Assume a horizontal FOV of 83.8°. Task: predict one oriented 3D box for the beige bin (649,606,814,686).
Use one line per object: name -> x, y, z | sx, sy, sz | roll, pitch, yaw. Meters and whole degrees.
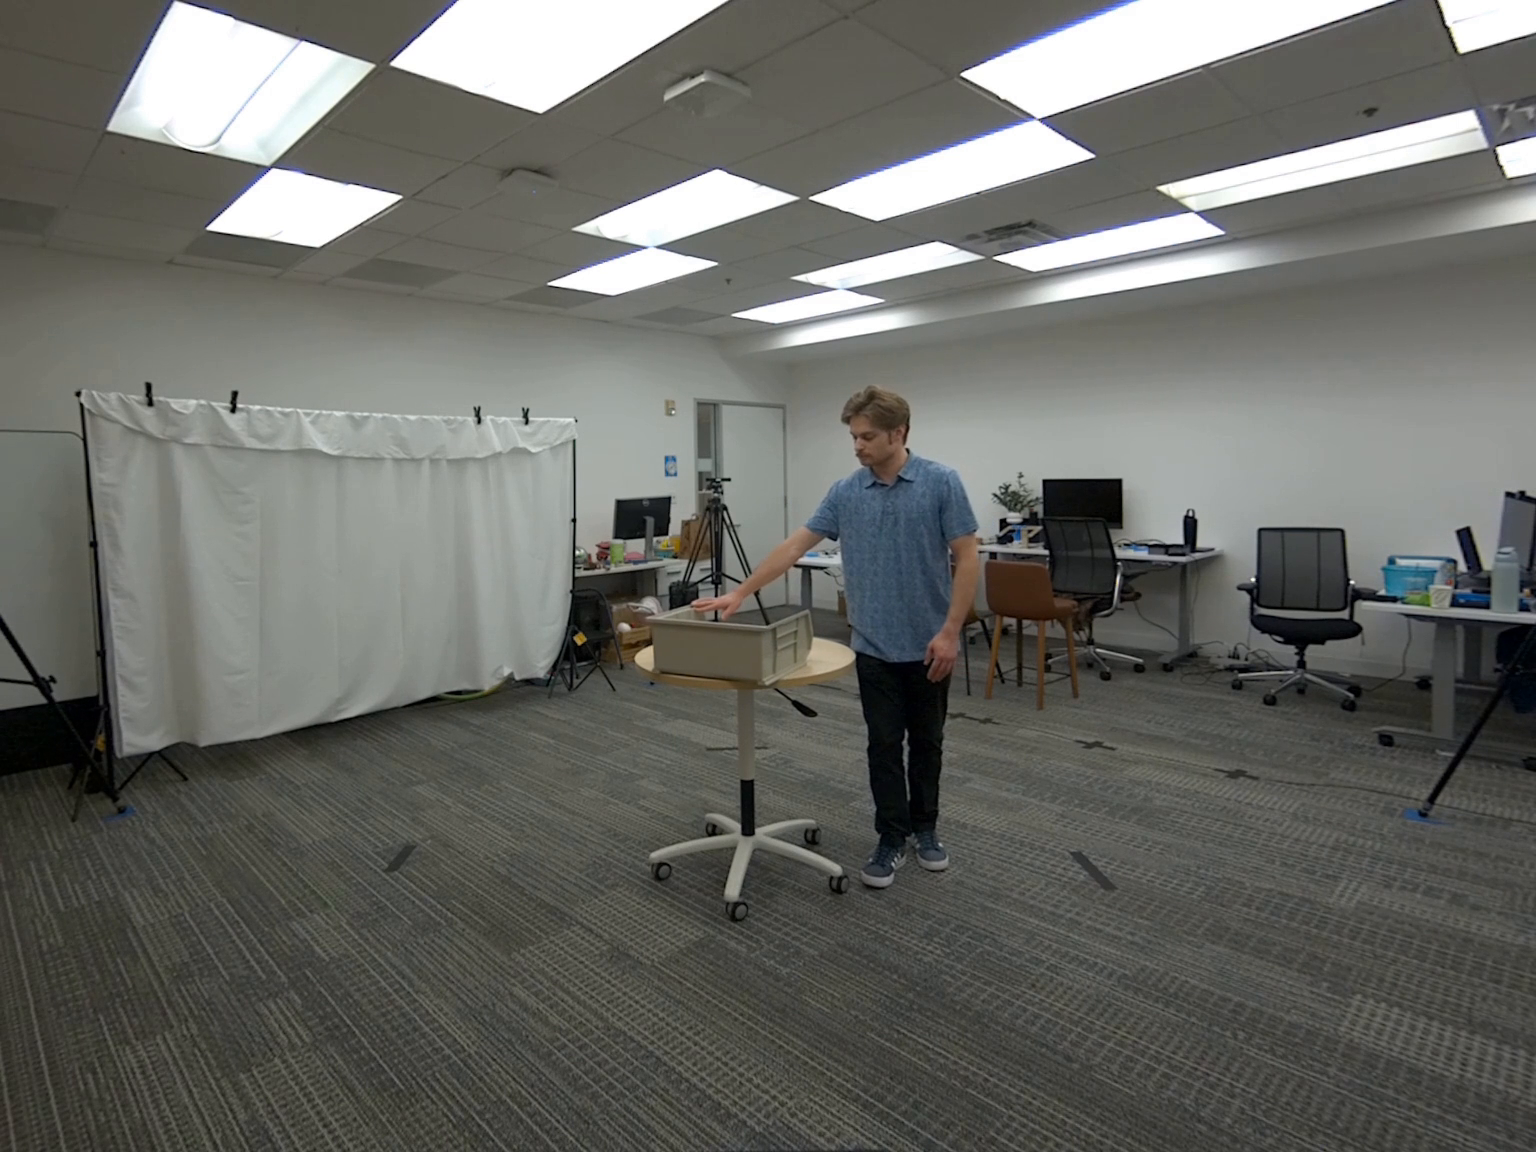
beige bin -> -0.117, 0.209, 2.777 | 0.433, 0.188, 0.370 | 3, 8, 27
